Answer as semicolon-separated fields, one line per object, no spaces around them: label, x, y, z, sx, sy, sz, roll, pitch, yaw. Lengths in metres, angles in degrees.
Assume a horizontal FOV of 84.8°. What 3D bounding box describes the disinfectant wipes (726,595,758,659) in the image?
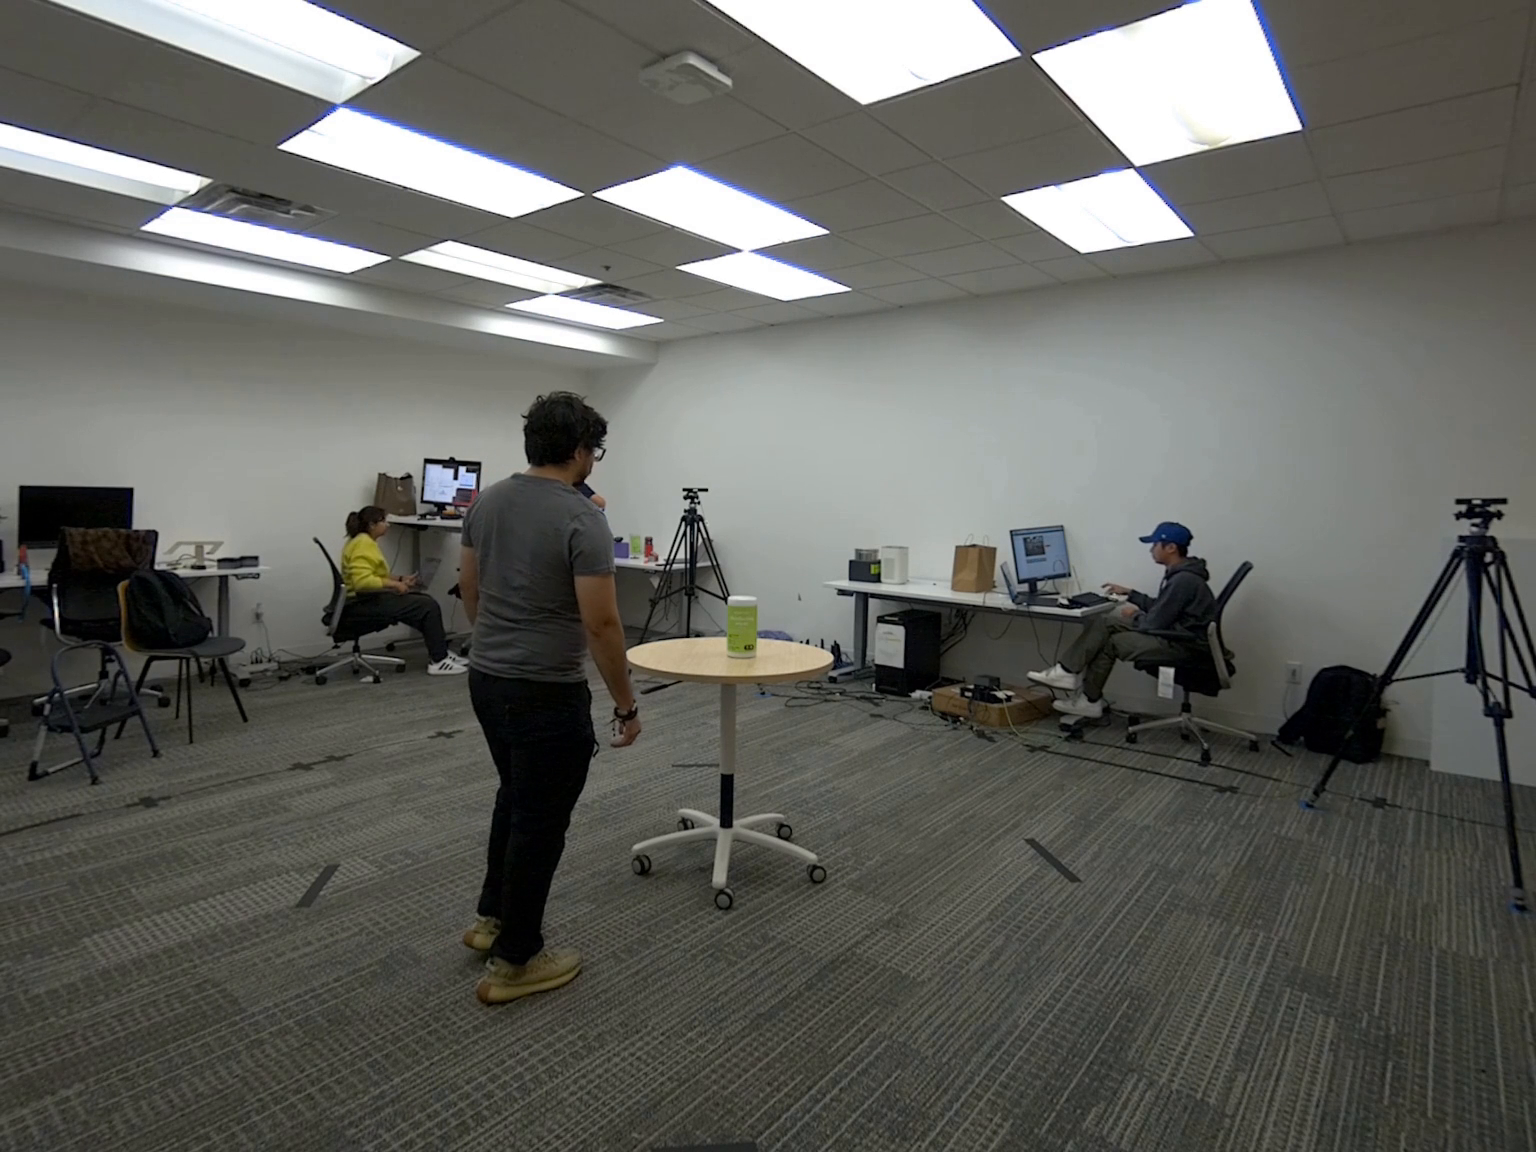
disinfectant wipes;-0.106;0.181;3.099;0.118;0.217;0.118;0;4;-2
